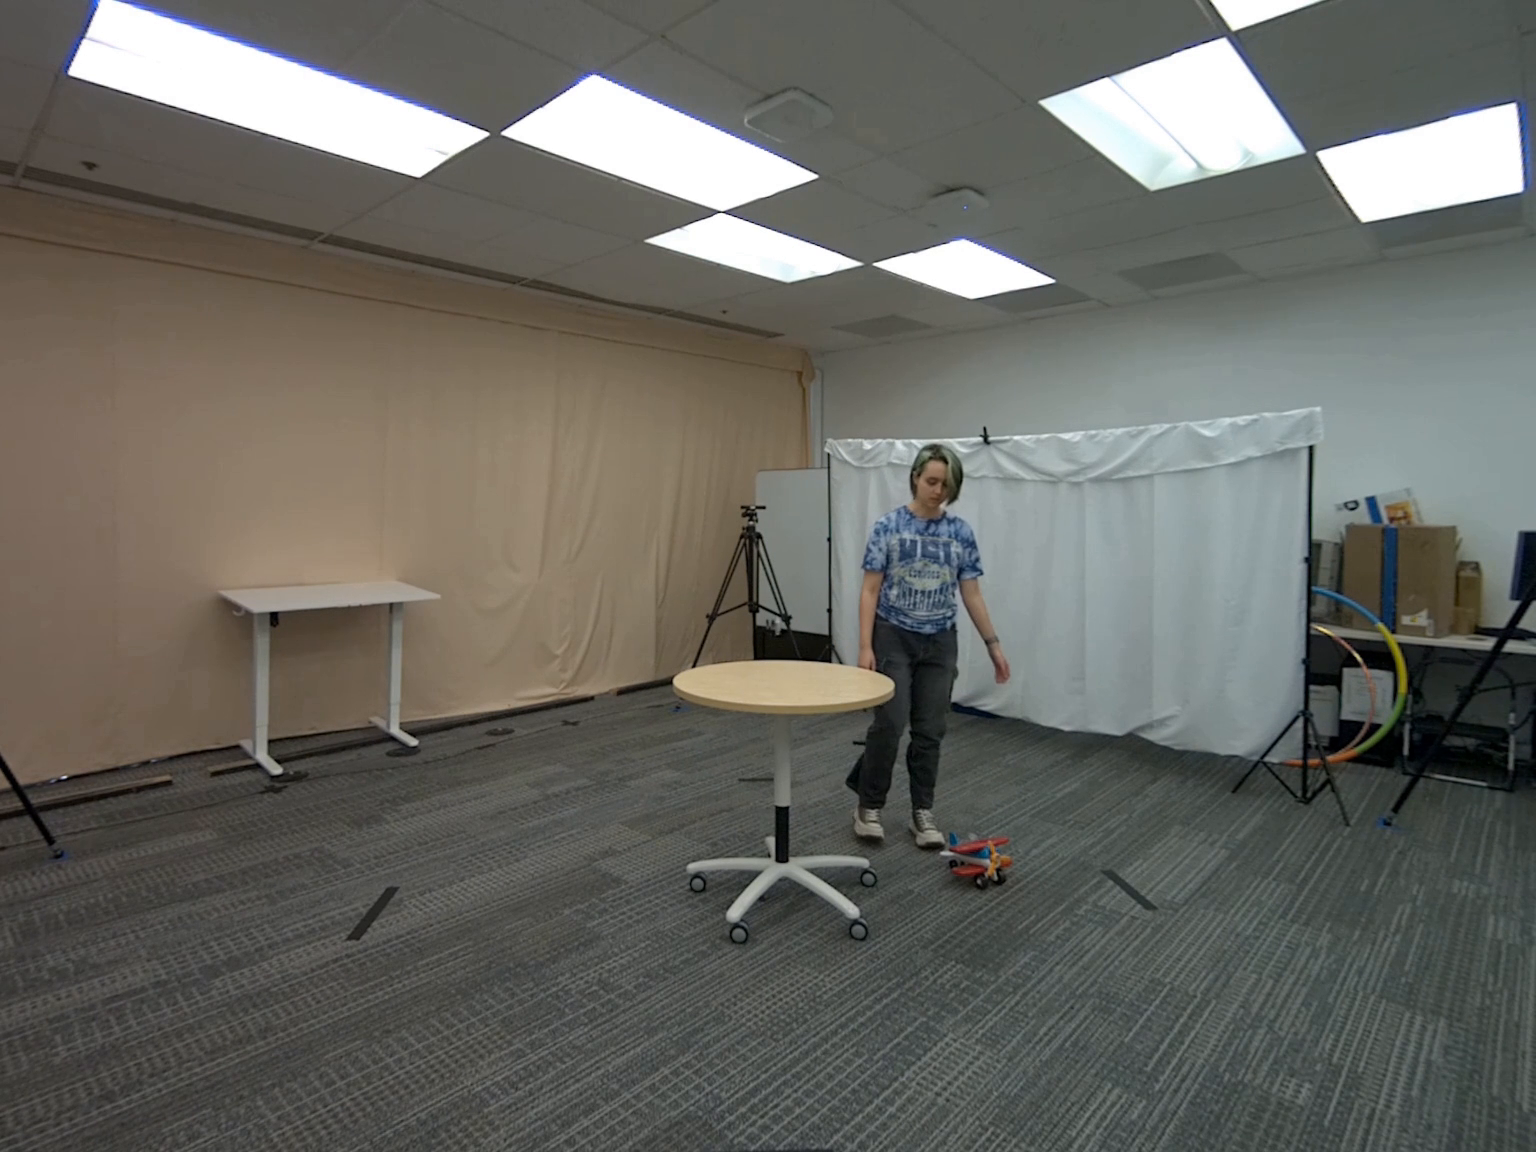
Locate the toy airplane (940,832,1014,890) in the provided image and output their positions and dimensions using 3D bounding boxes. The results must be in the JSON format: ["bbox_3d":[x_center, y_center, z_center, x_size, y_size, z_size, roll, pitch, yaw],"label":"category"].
[{"bbox_3d":[0.751,1.046,3.143,0.267,0.156,0.244,4,6,34],"label":"toy airplane"}]
